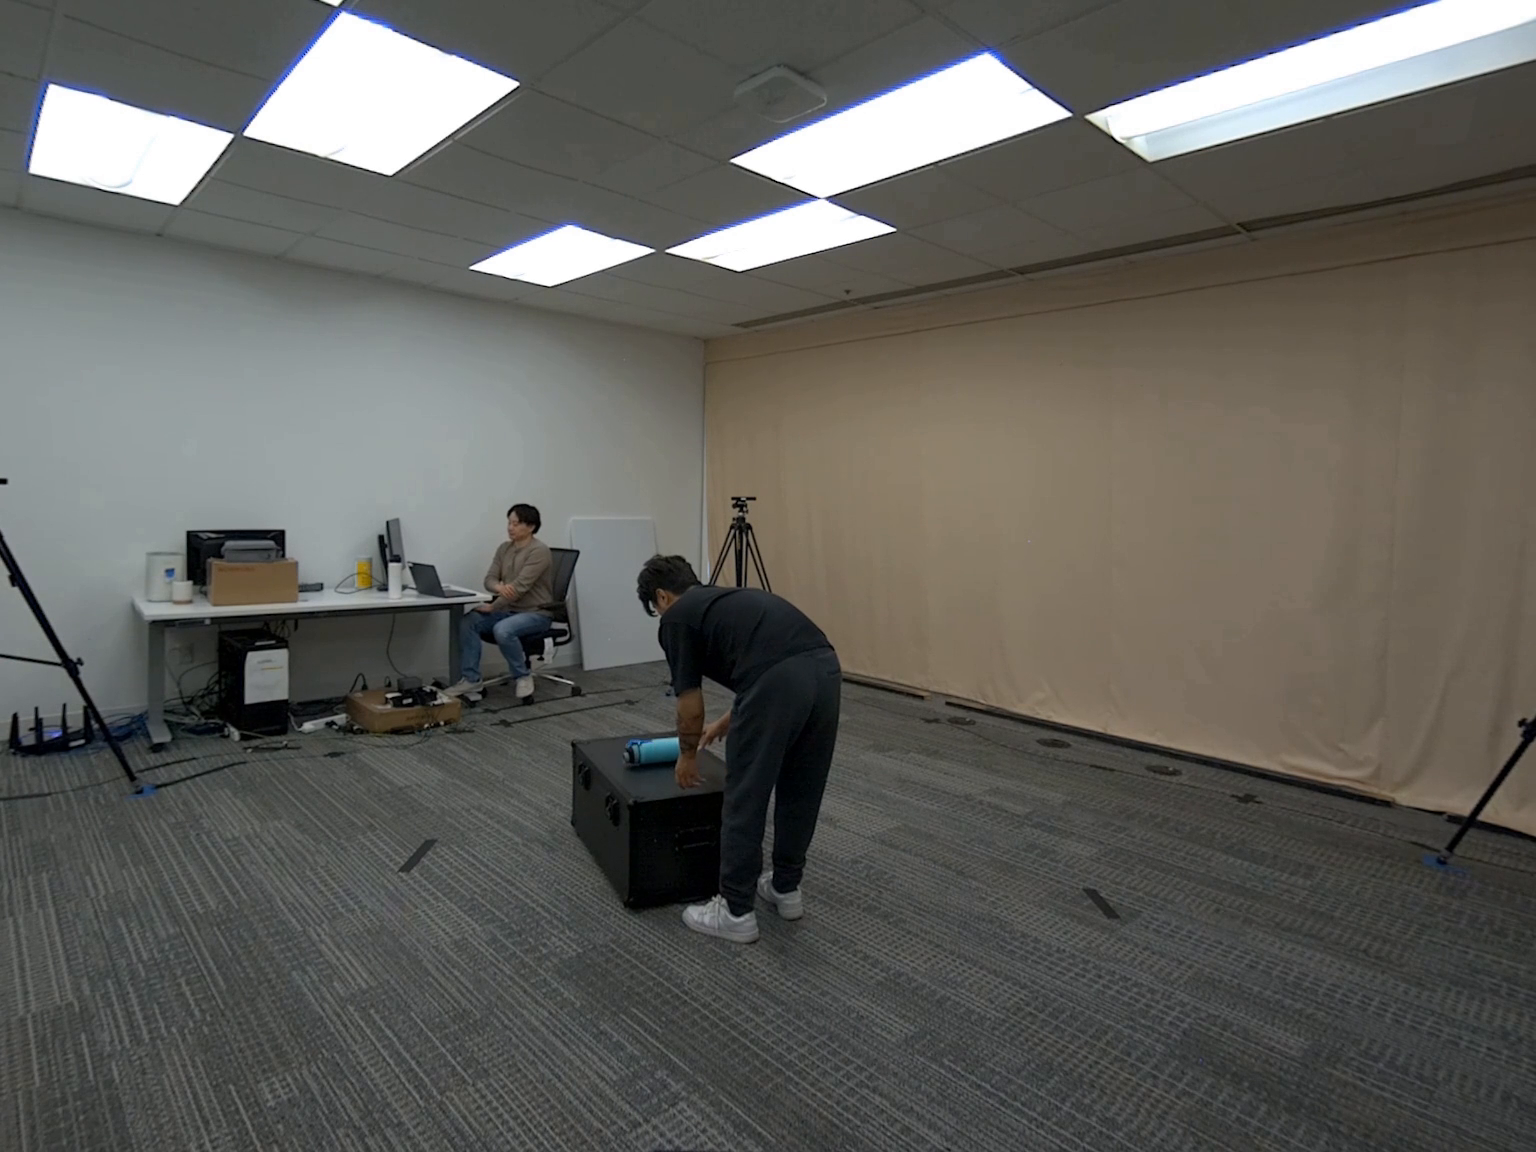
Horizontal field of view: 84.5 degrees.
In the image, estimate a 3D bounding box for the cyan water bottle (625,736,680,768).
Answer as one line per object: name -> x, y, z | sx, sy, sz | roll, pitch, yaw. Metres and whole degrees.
cyan water bottle -> -0.418, 0.664, 3.218 | 0.279, 0.092, 0.094 | 0, 5, -20
